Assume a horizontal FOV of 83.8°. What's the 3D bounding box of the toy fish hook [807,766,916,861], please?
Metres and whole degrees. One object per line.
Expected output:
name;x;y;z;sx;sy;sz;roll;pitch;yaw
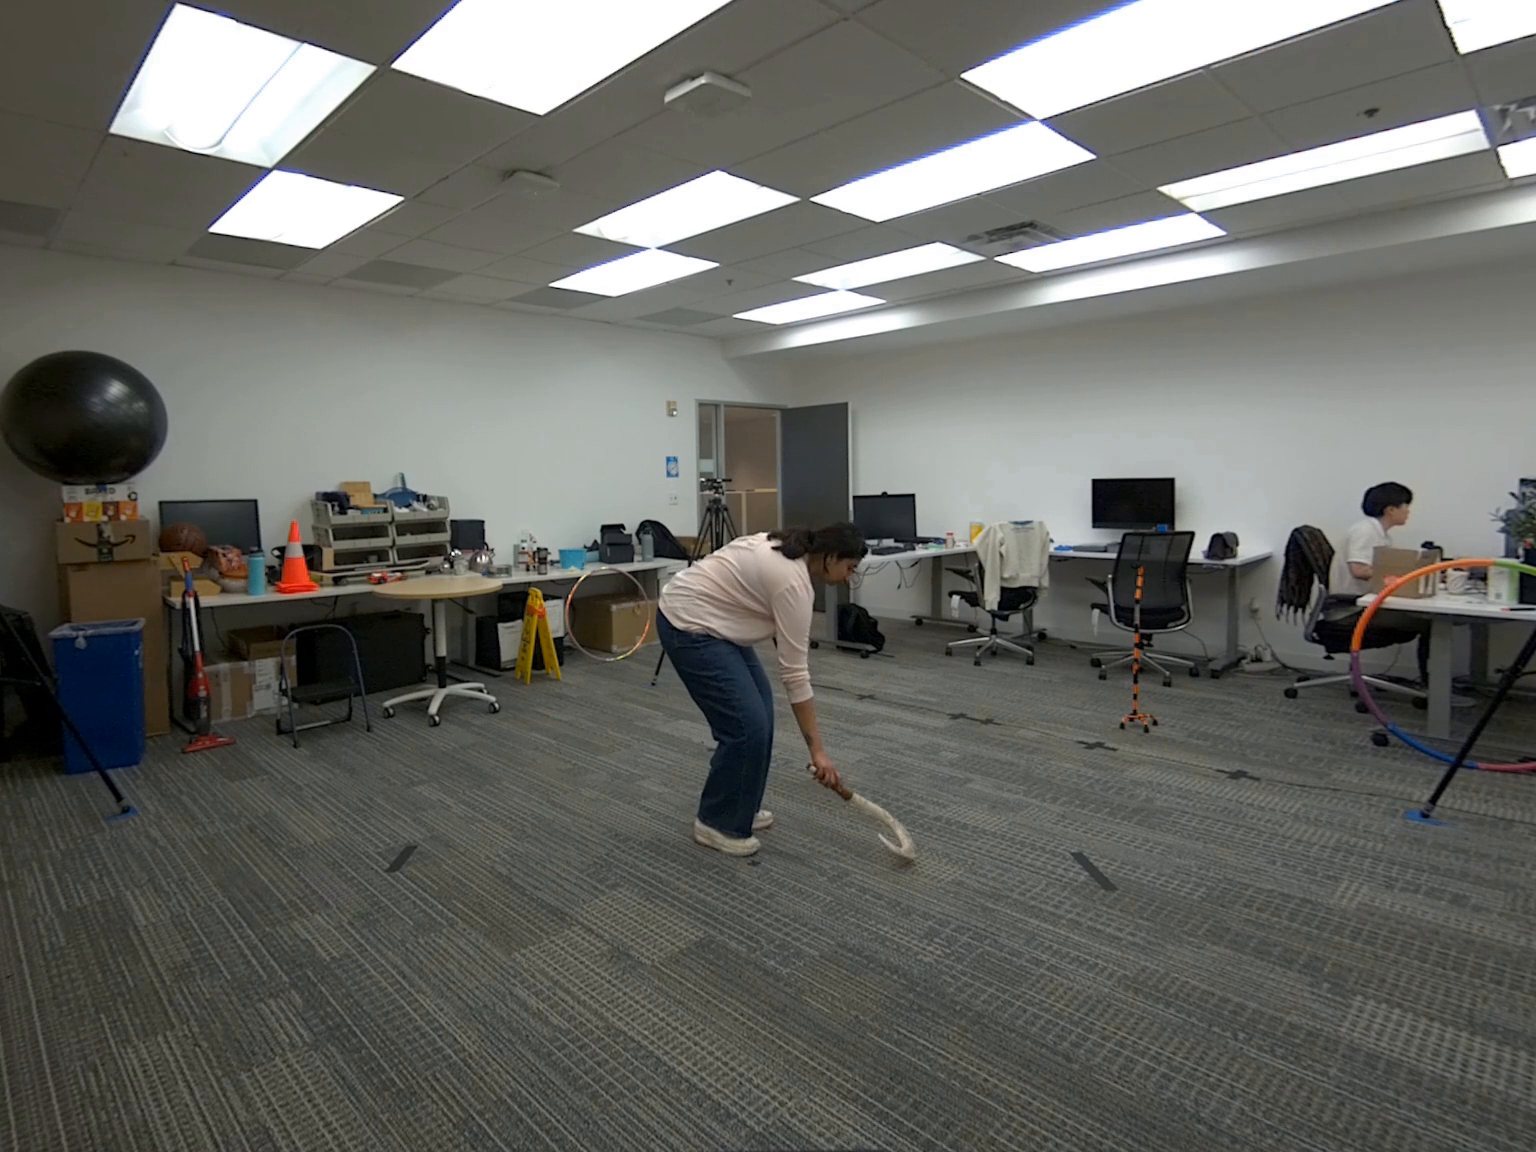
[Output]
toy fish hook;0.337;0.830;3.073;0.499;0.048;0.228;36;11;-11
